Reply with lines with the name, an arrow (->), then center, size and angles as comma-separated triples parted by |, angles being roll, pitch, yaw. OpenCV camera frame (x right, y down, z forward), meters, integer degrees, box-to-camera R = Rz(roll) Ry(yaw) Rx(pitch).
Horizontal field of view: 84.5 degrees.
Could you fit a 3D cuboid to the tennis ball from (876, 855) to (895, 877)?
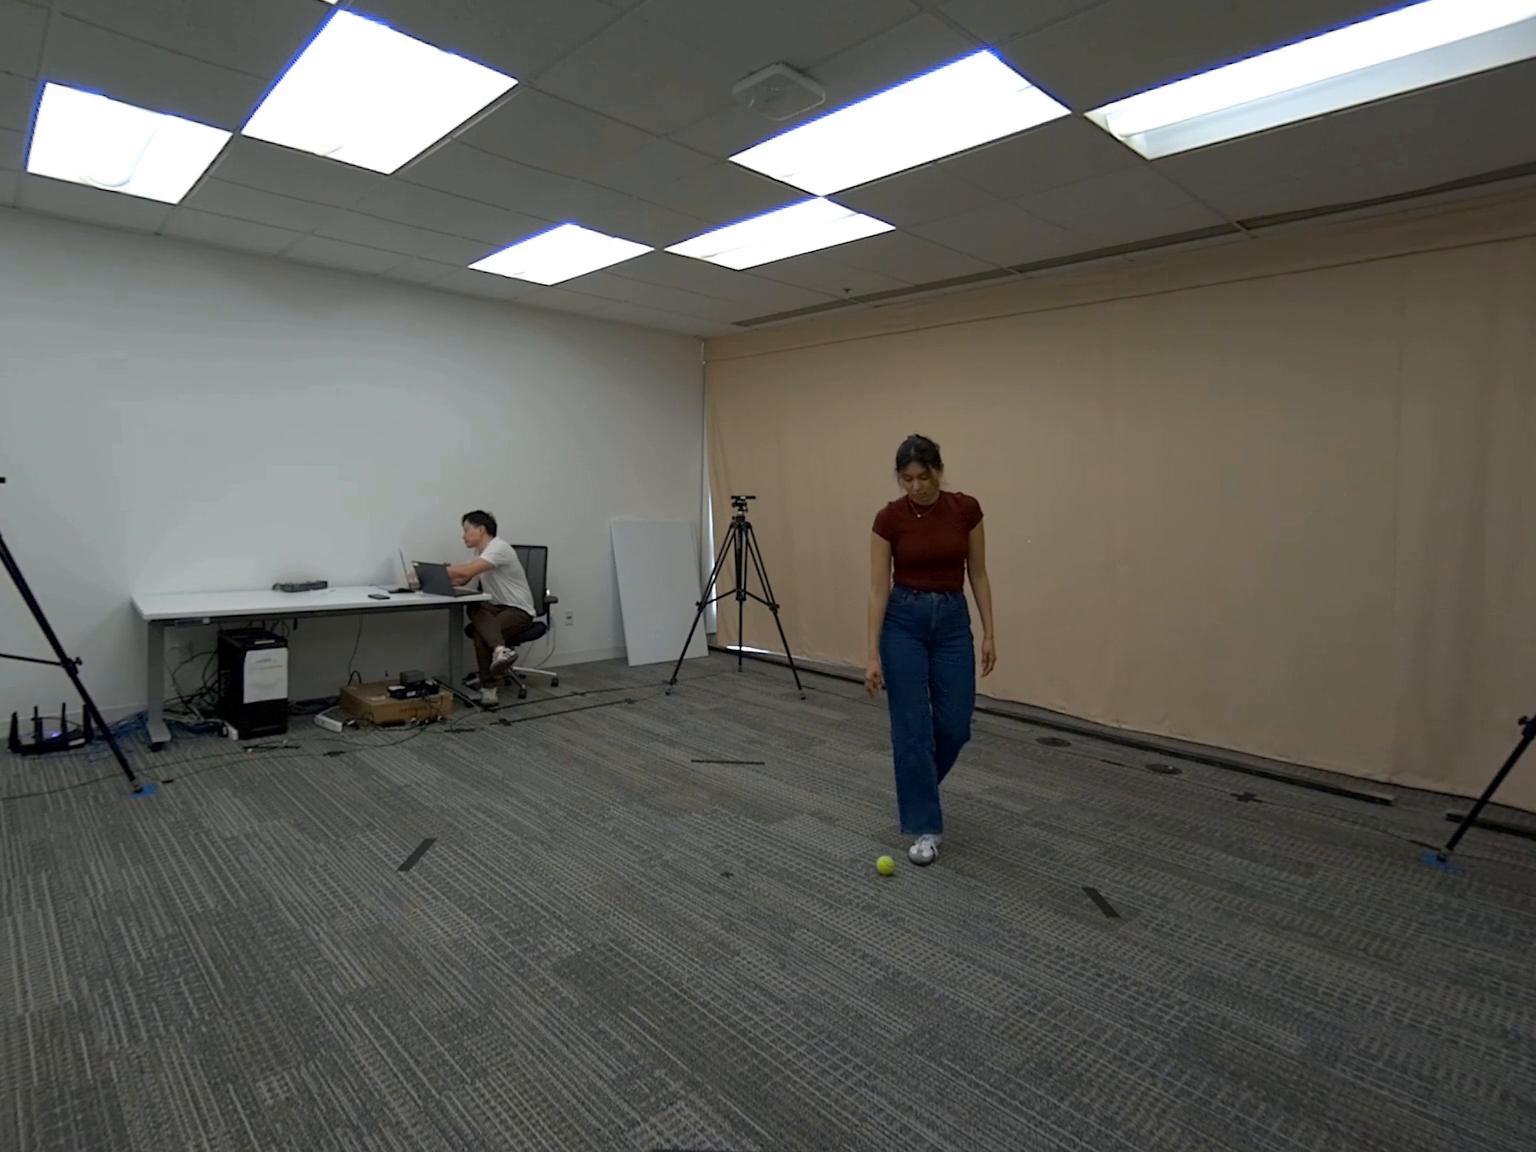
tennis ball -> 0.425, 1.072, 3.142 | 0.066, 0.066, 0.067 | 1, 4, -1
